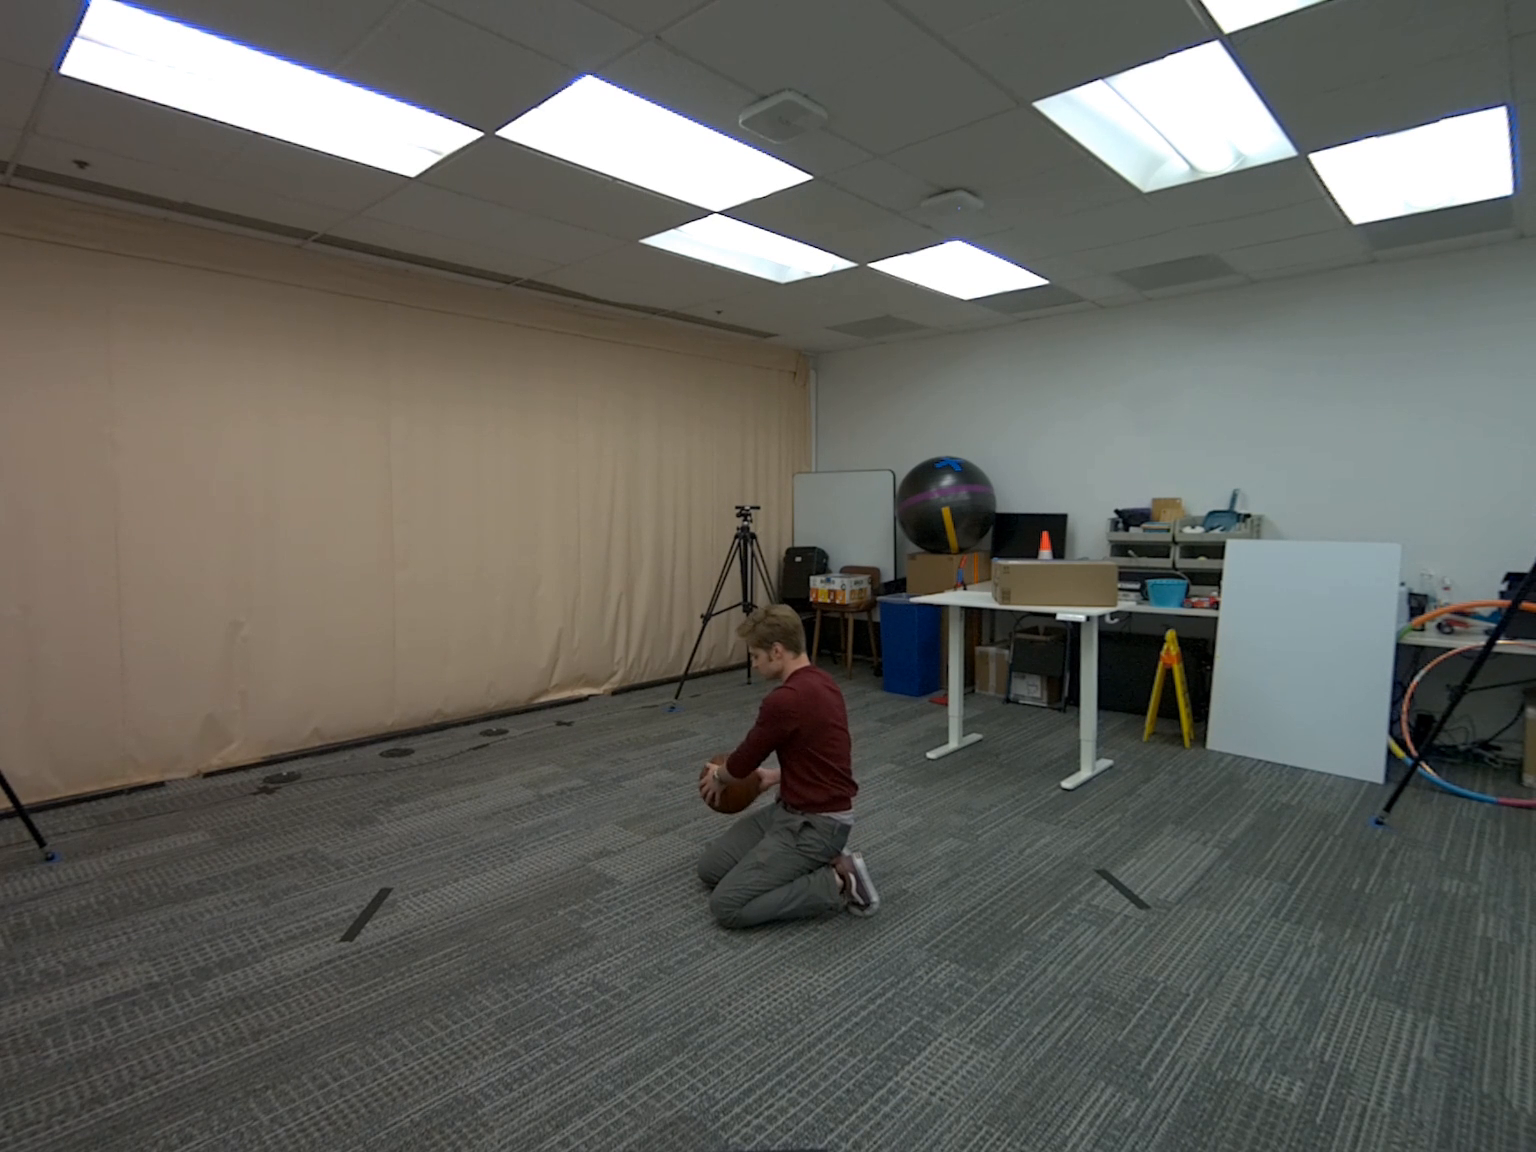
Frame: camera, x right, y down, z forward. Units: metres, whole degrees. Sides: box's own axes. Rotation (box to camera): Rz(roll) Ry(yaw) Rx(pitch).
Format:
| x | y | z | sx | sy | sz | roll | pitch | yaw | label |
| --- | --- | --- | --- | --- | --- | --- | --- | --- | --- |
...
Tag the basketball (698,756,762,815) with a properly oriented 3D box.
| x | y | z | sx | sy | sz | roll | pitch | yaw | label |
| --- | --- | --- | --- | --- | --- | --- | --- | --- | --- |
| -0.153 | 0.829 | 3.358 | 0.236 | 0.235 | 0.237 | 0 | 4 | -2 | basketball |
